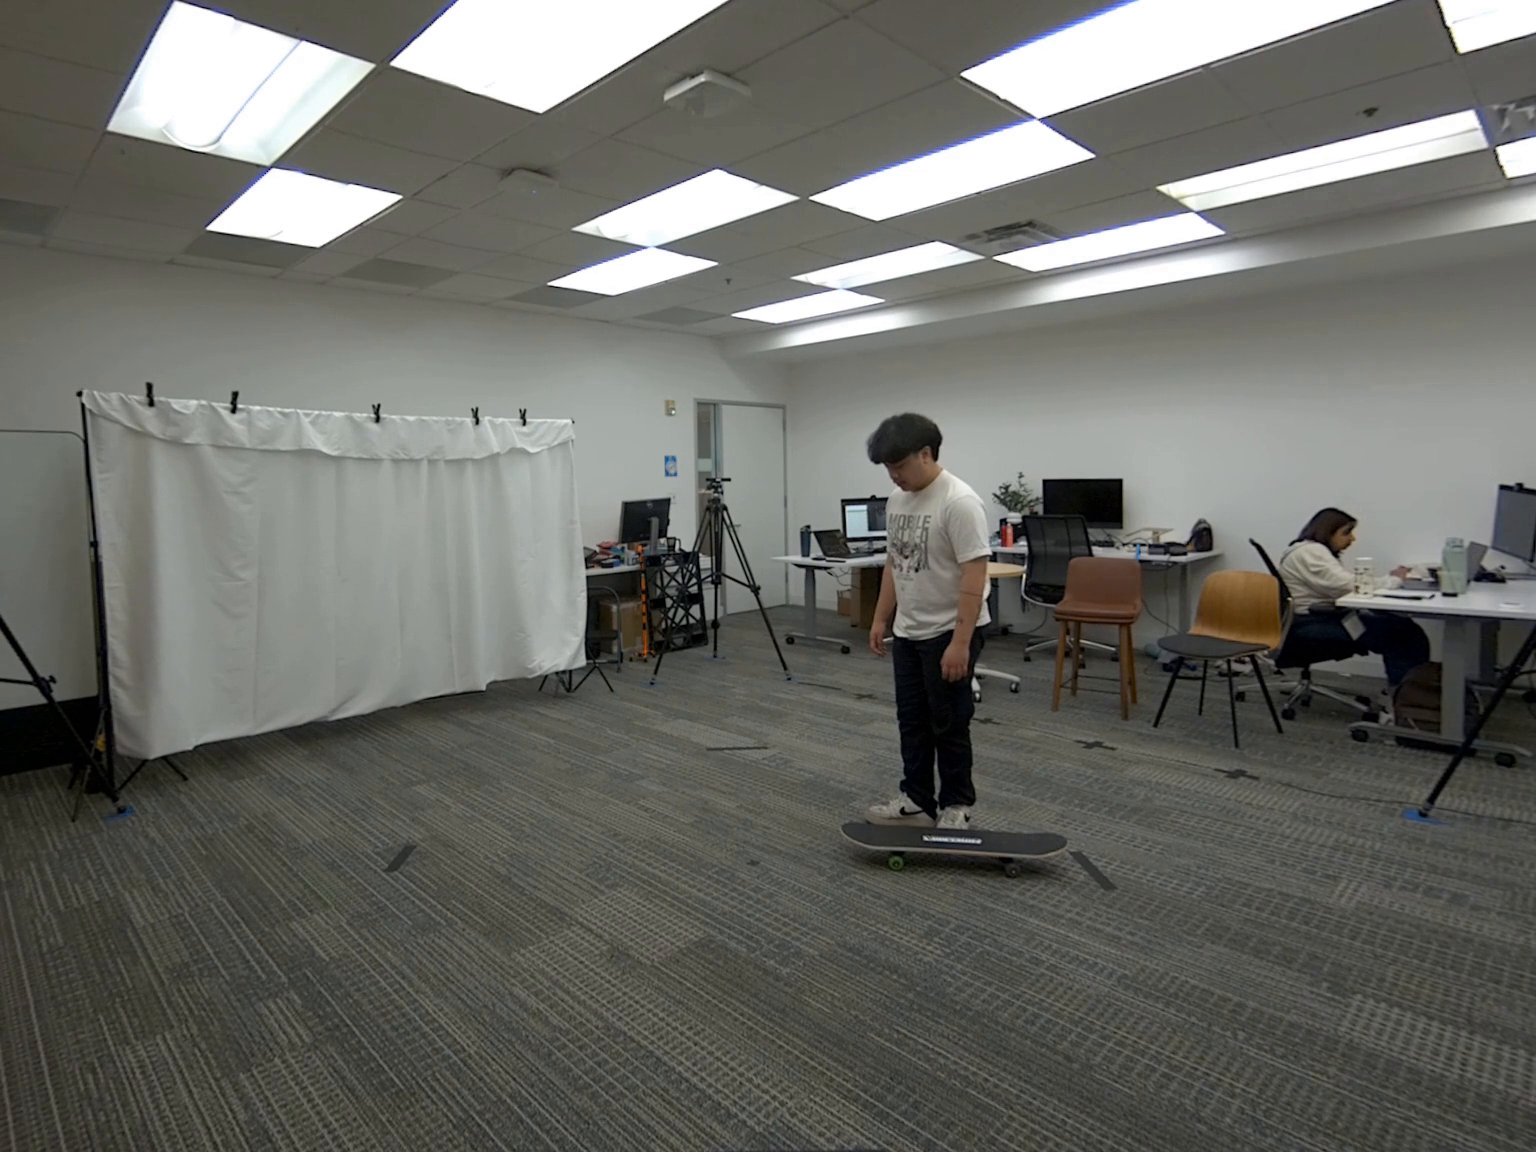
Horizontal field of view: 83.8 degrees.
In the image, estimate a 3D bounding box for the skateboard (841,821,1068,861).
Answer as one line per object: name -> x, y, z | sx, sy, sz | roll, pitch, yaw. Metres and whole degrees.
skateboard -> 0.655, 0.973, 3.075 | 0.794, 0.110, 0.192 | 0, 6, 11
